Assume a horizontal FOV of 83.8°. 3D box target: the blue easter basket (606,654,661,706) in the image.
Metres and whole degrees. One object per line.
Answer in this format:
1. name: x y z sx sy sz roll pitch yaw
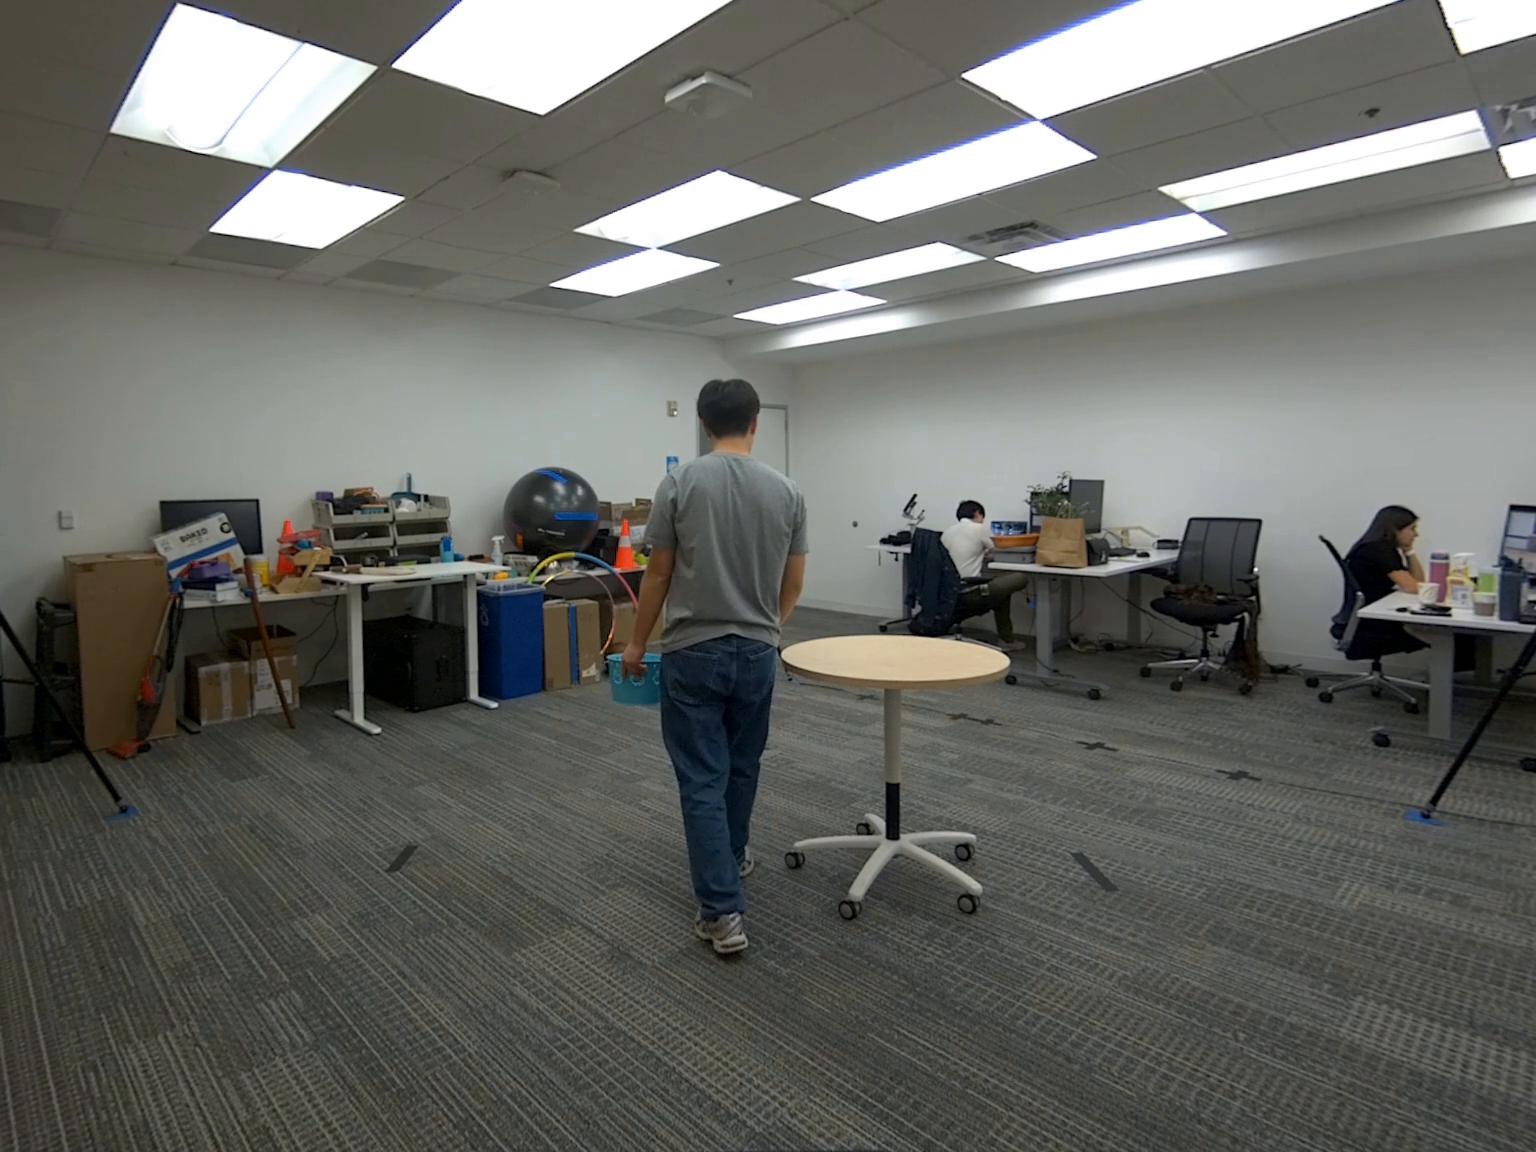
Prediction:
1. blue easter basket: -0.445 0.352 2.965 0.243 0.156 0.244 1 1 -2
